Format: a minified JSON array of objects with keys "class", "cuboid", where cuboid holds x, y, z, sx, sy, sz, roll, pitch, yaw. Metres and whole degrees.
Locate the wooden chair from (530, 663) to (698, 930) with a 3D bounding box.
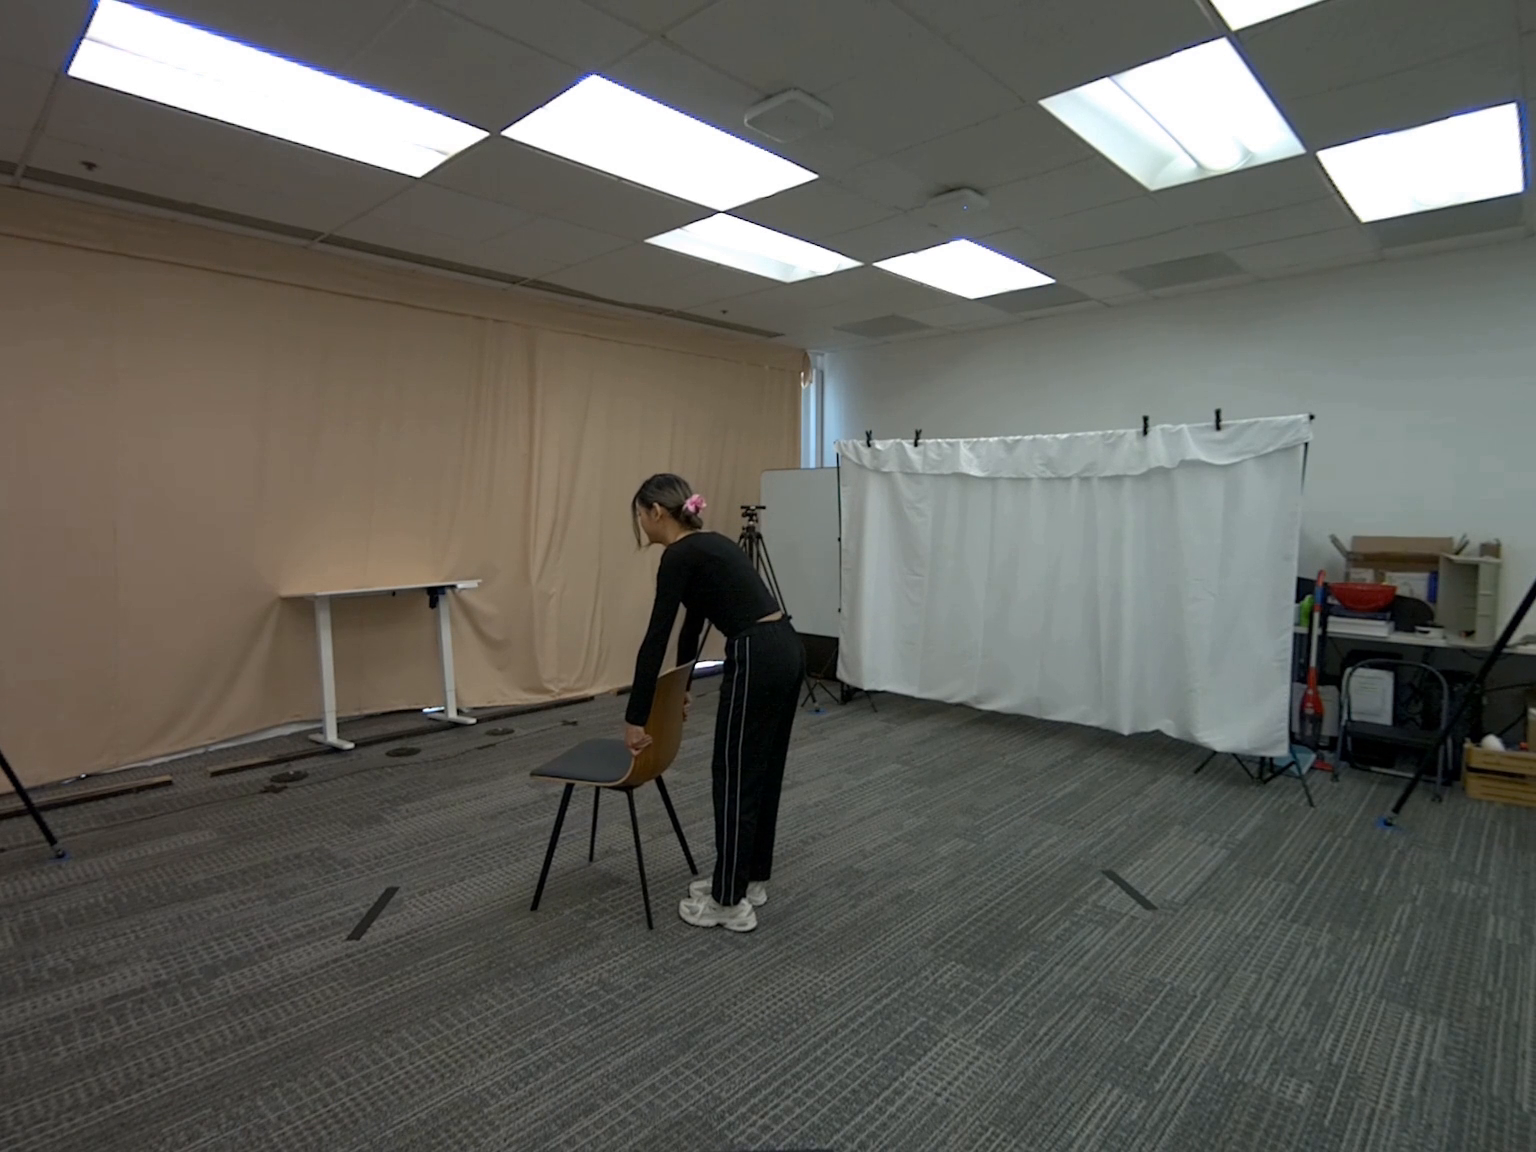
[{"class":"wooden chair","cuboid":[-0.551,0.717,3.017,0.533,0.875,0.470,5,5,17]}]
